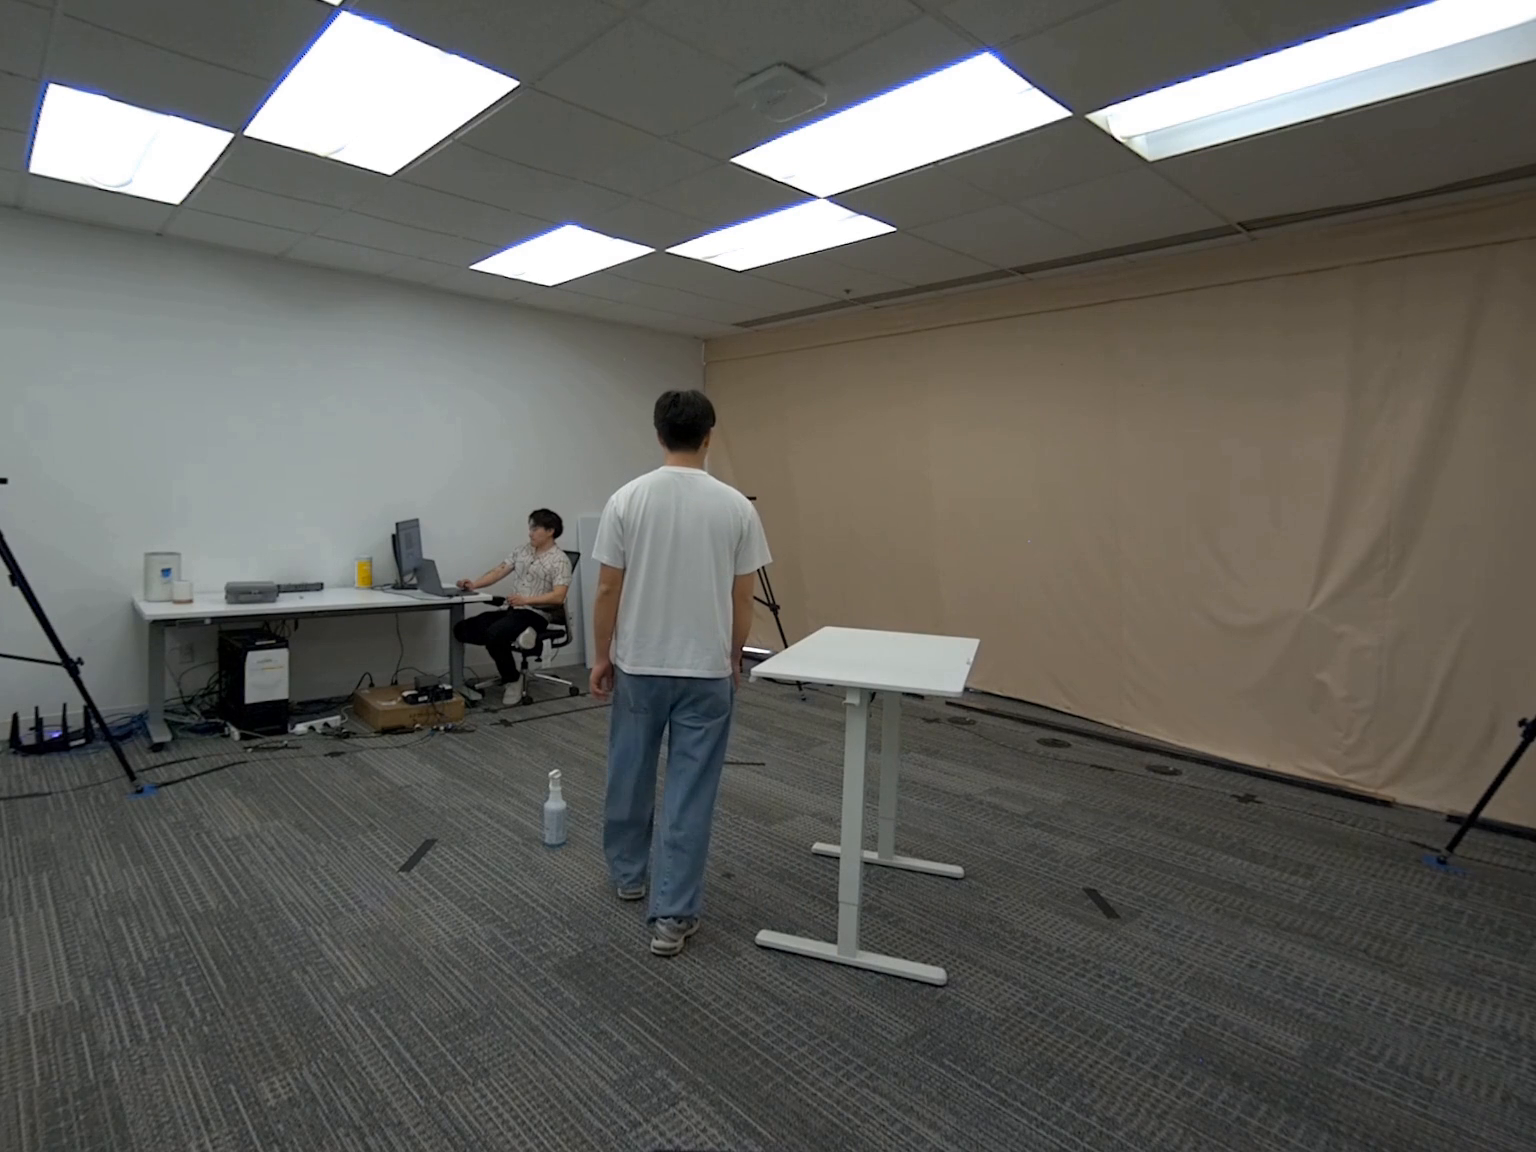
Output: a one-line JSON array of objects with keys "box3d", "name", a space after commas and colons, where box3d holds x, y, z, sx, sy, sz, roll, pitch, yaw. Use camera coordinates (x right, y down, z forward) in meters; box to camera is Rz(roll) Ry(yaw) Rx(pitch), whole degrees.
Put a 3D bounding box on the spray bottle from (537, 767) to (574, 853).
[{"box3d": [-0.841, 0.921, 3.346, 0.089, 0.296, 0.088, 7, 6, 35], "name": "spray bottle"}]
